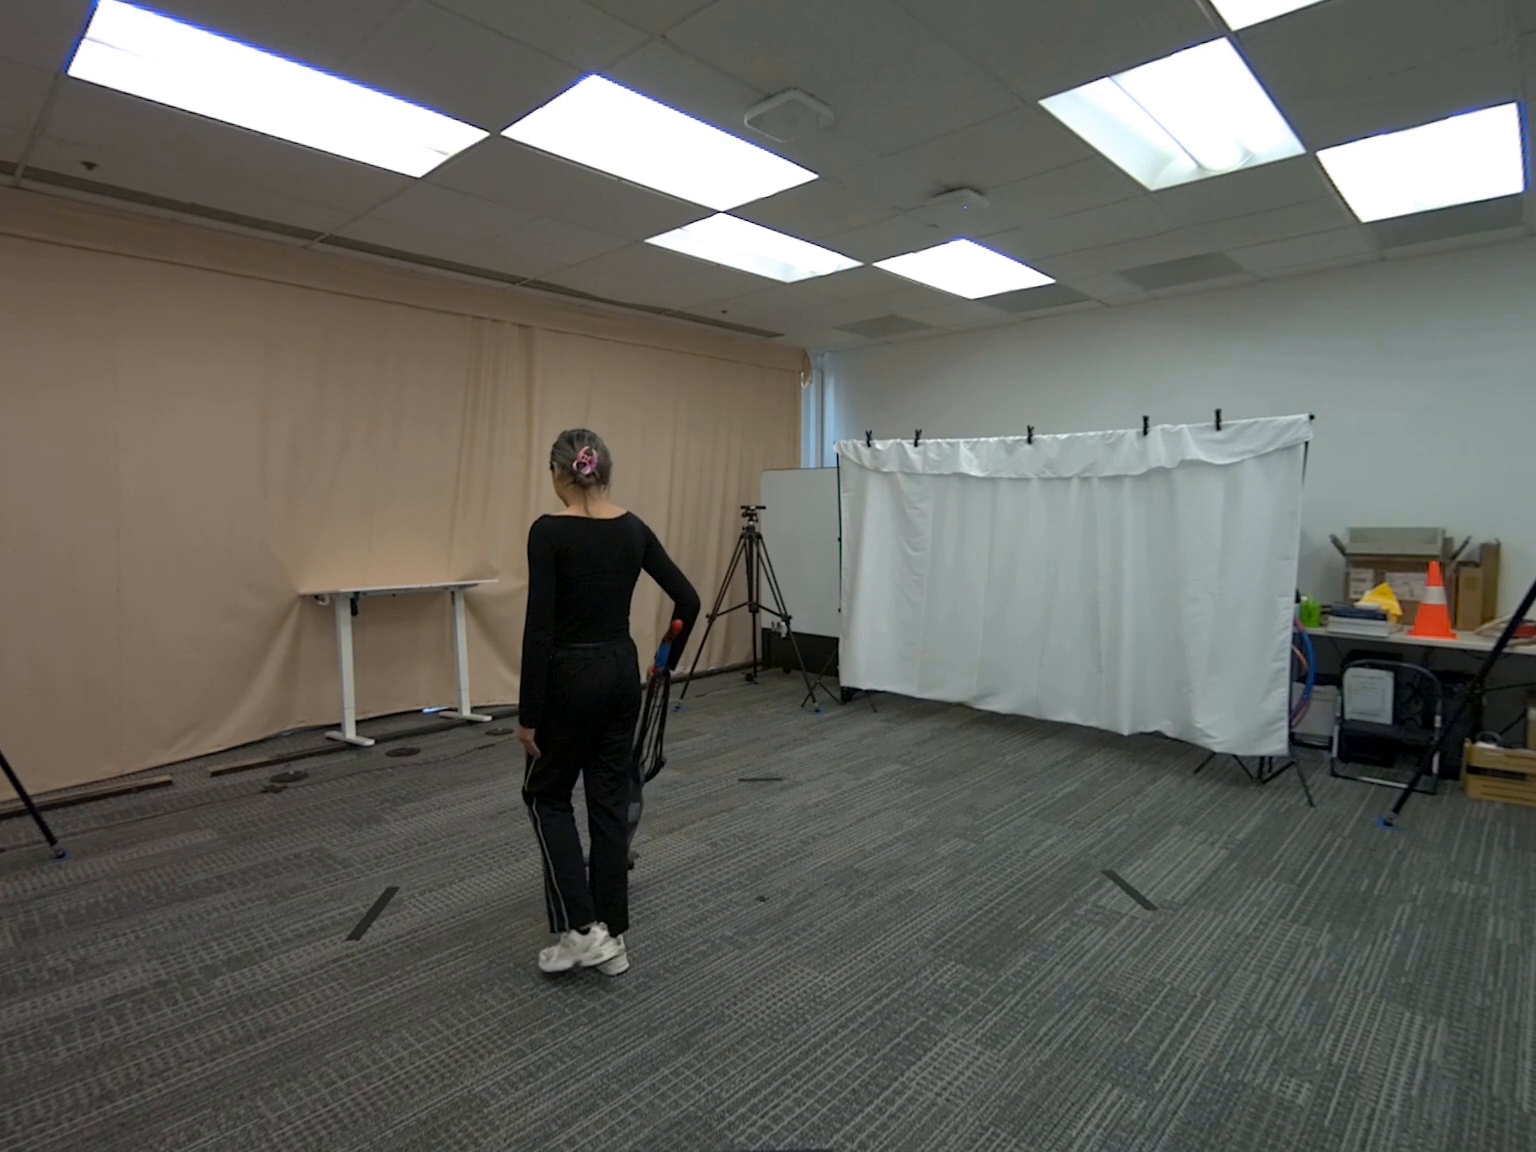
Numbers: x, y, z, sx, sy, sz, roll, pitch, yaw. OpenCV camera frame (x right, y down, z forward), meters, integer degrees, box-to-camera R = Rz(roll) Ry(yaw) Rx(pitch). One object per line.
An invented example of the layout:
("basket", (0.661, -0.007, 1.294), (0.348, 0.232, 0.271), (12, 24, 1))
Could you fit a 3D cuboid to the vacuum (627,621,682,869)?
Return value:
("vacuum", (-0.421, 0.605, 2.787), (0.245, 1.043, 0.149), (3, 29, -31))
